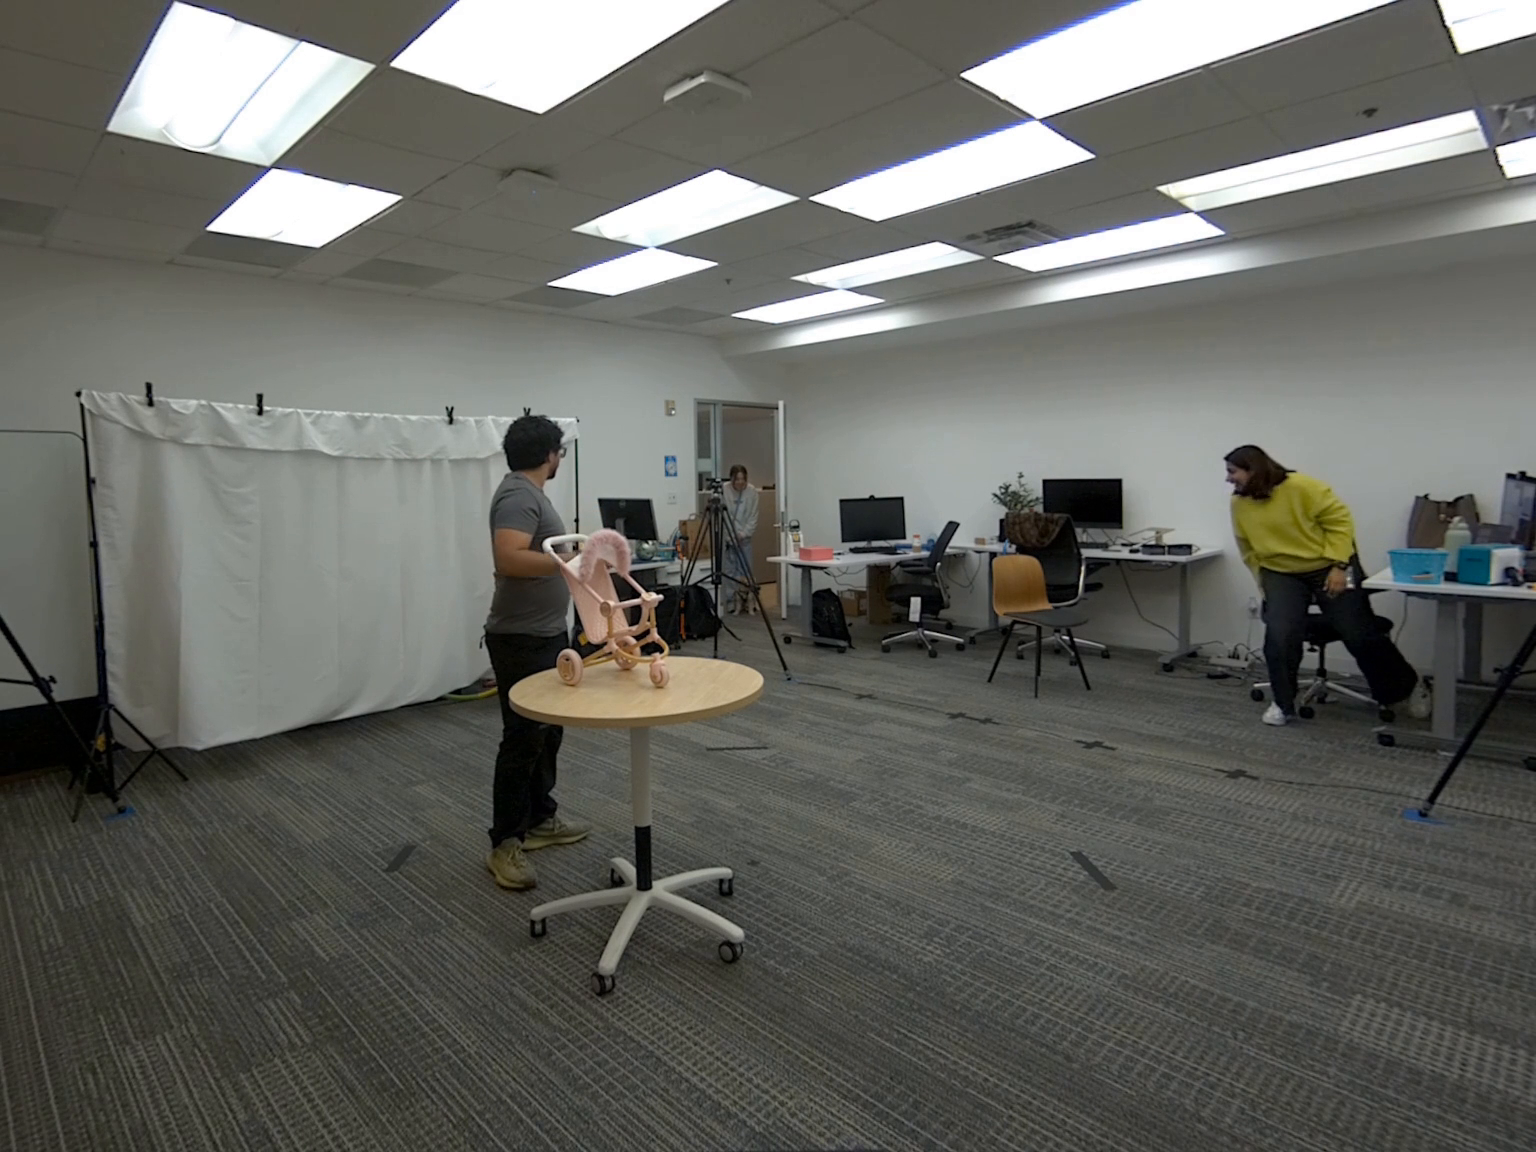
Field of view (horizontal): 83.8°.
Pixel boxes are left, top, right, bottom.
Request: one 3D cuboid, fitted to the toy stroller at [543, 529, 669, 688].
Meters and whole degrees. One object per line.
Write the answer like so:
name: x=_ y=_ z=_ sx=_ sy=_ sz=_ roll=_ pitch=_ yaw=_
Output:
toy stroller: x=-0.484 y=0.099 z=2.638 sx=0.348 sy=0.538 sz=0.274 roll=-17 pitch=-6 yaw=41
